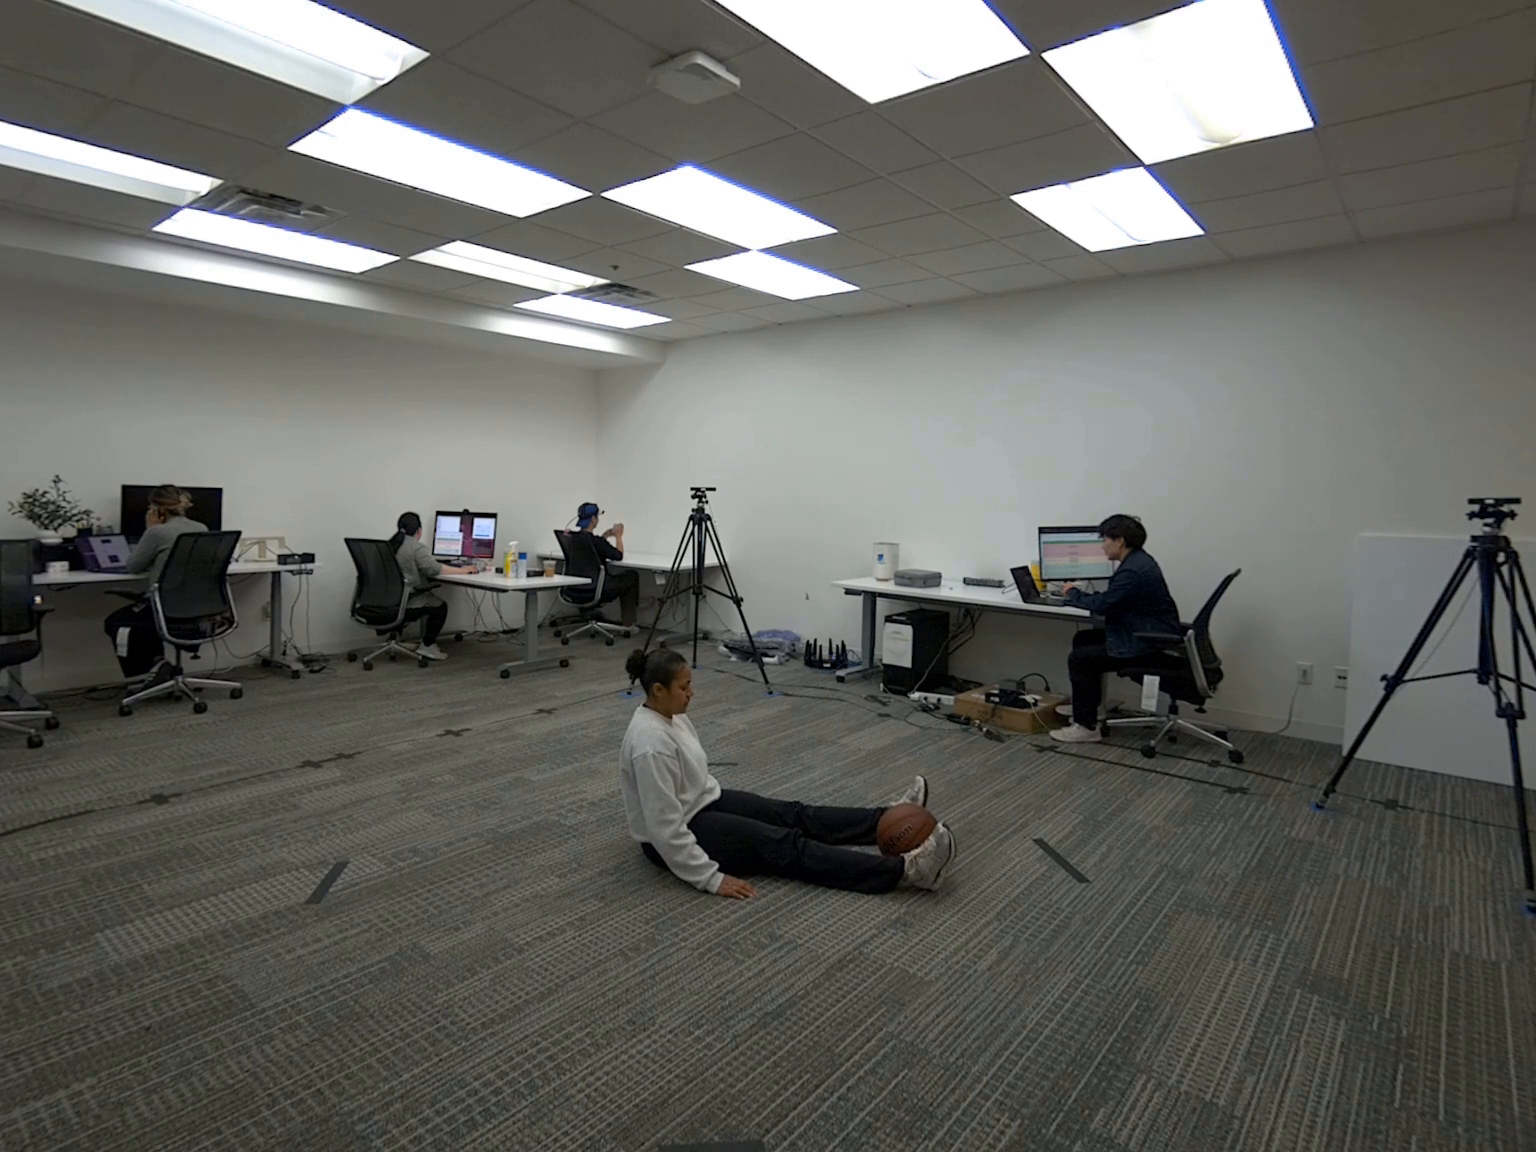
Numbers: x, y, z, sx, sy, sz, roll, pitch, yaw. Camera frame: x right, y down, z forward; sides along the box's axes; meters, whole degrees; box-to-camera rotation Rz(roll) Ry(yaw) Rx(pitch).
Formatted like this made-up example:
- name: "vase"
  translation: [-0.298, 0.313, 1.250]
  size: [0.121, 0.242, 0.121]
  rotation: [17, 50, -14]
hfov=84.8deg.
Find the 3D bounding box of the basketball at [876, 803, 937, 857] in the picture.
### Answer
- name: "basketball"
  translation: [0.517, 0.965, 3.147]
  size: [0.235, 0.235, 0.237]
  rotation: [1, 4, -2]
